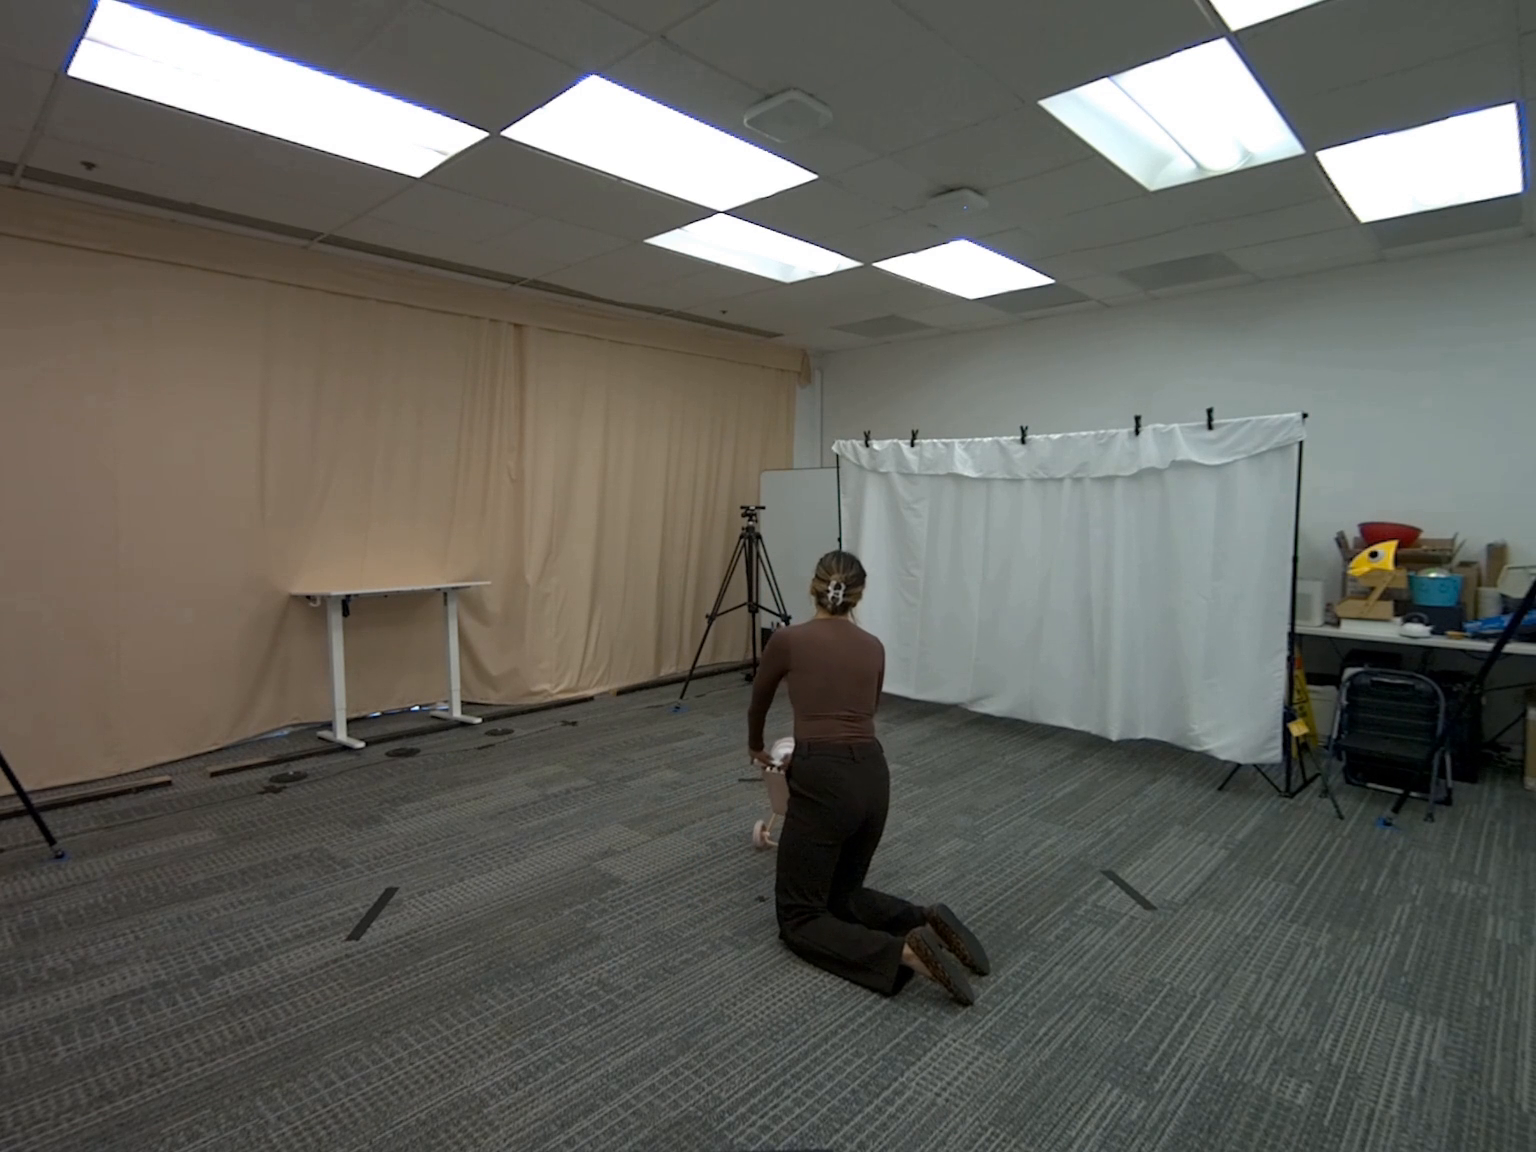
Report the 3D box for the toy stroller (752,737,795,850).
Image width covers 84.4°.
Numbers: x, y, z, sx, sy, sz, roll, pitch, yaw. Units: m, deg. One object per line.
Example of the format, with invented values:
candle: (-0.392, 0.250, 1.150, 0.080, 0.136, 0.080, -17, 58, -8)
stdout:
toy stroller: (0.105, 0.883, 3.422, 0.289, 0.527, 0.337, 3, 22, 25)
